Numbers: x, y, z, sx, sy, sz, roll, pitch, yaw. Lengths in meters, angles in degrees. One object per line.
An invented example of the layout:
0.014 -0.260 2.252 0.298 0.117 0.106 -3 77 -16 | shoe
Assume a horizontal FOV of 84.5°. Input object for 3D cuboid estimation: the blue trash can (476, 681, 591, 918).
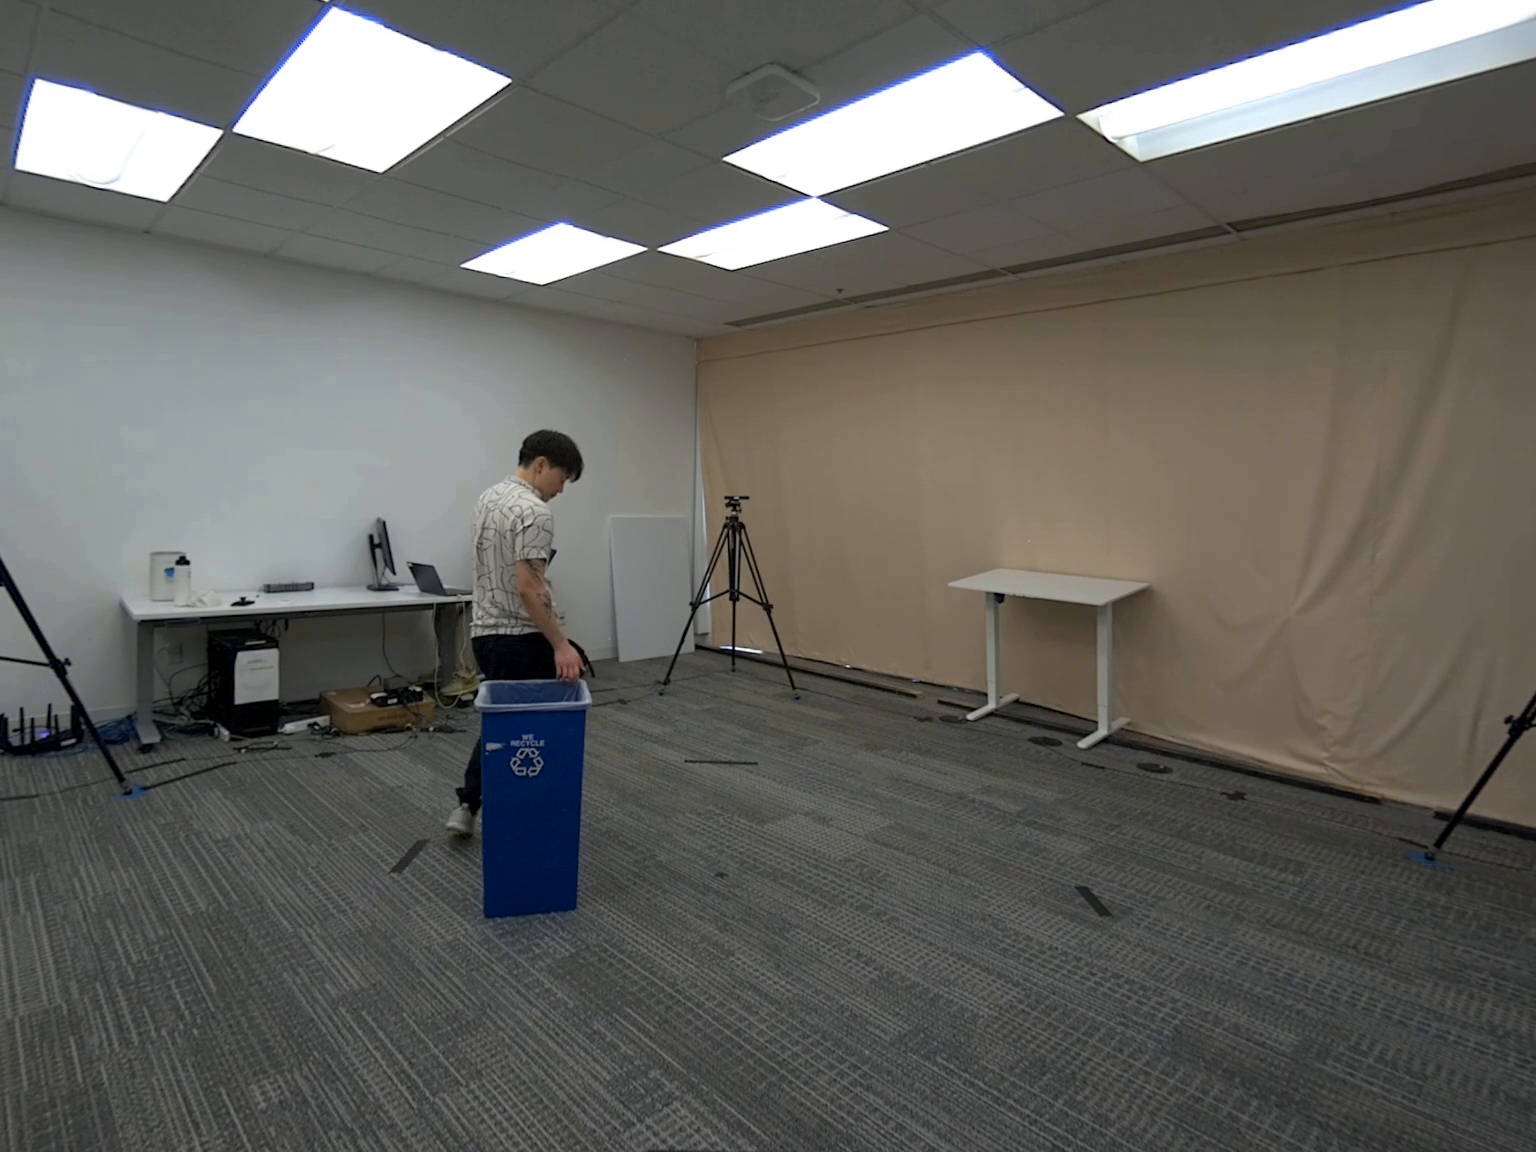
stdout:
-0.814 0.751 2.904 0.370 0.711 0.383 0 4 -15 | blue trash can
